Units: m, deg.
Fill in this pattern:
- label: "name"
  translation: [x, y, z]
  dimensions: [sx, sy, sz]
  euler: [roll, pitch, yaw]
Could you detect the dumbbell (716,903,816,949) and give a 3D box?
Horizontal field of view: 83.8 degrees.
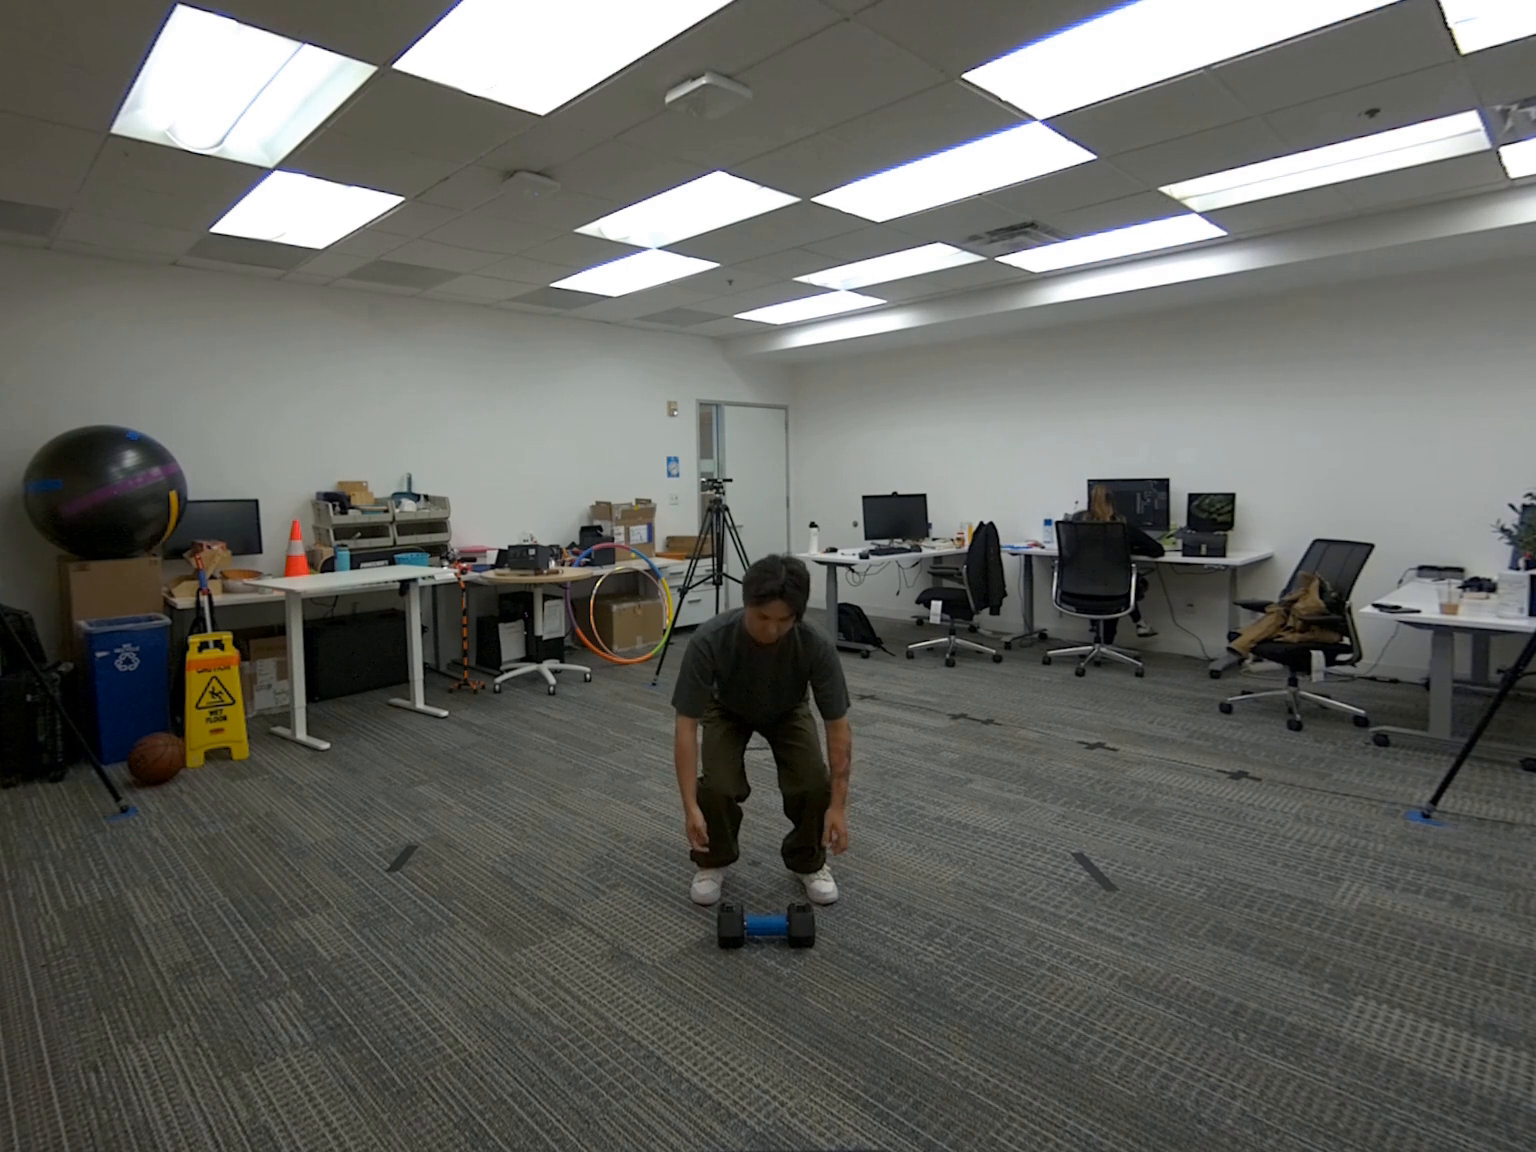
- label: "dumbbell"
  translation: [-0.002, 1.060, 2.569]
  dimensions: [0.294, 0.125, 0.106]
  euler: [-1, -24, 1]
